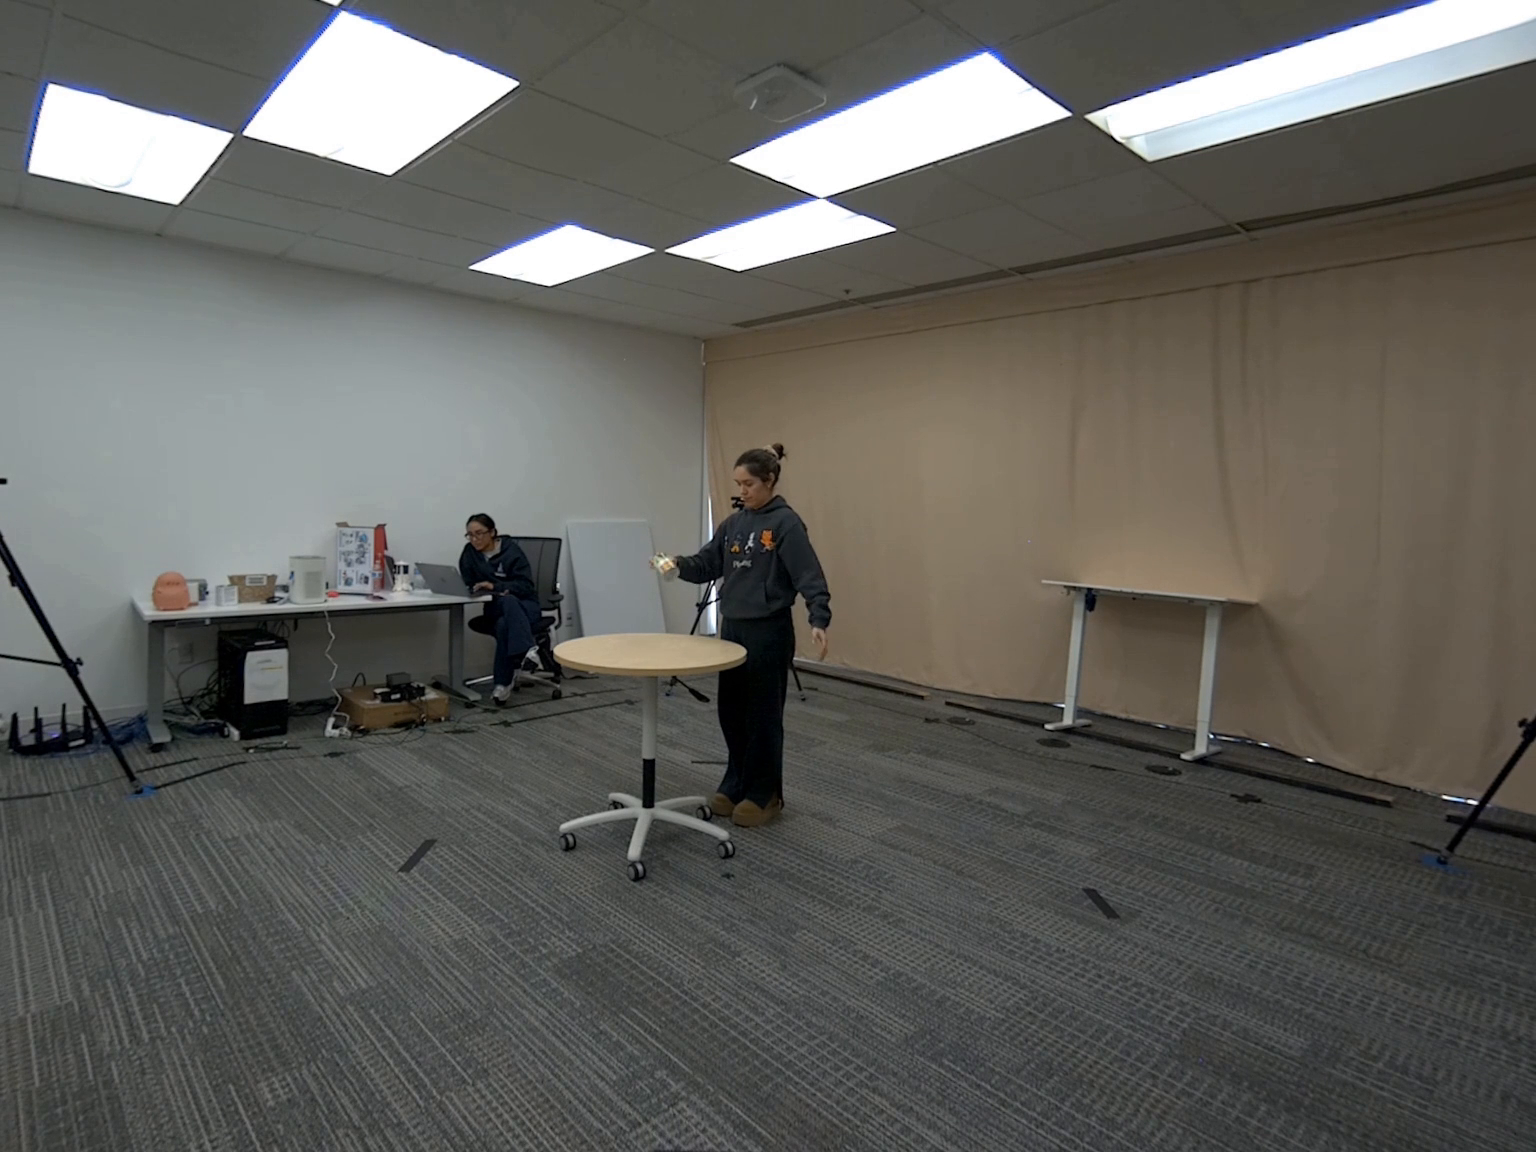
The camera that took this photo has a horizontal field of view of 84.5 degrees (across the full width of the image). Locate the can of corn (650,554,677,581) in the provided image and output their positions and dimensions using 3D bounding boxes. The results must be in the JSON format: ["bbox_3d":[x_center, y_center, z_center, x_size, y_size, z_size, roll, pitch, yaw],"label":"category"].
[{"bbox_3d":[-0.448,-0.051,3.551,0.072,0.073,0.114,-3,17,-39],"label":"can of corn"}]
